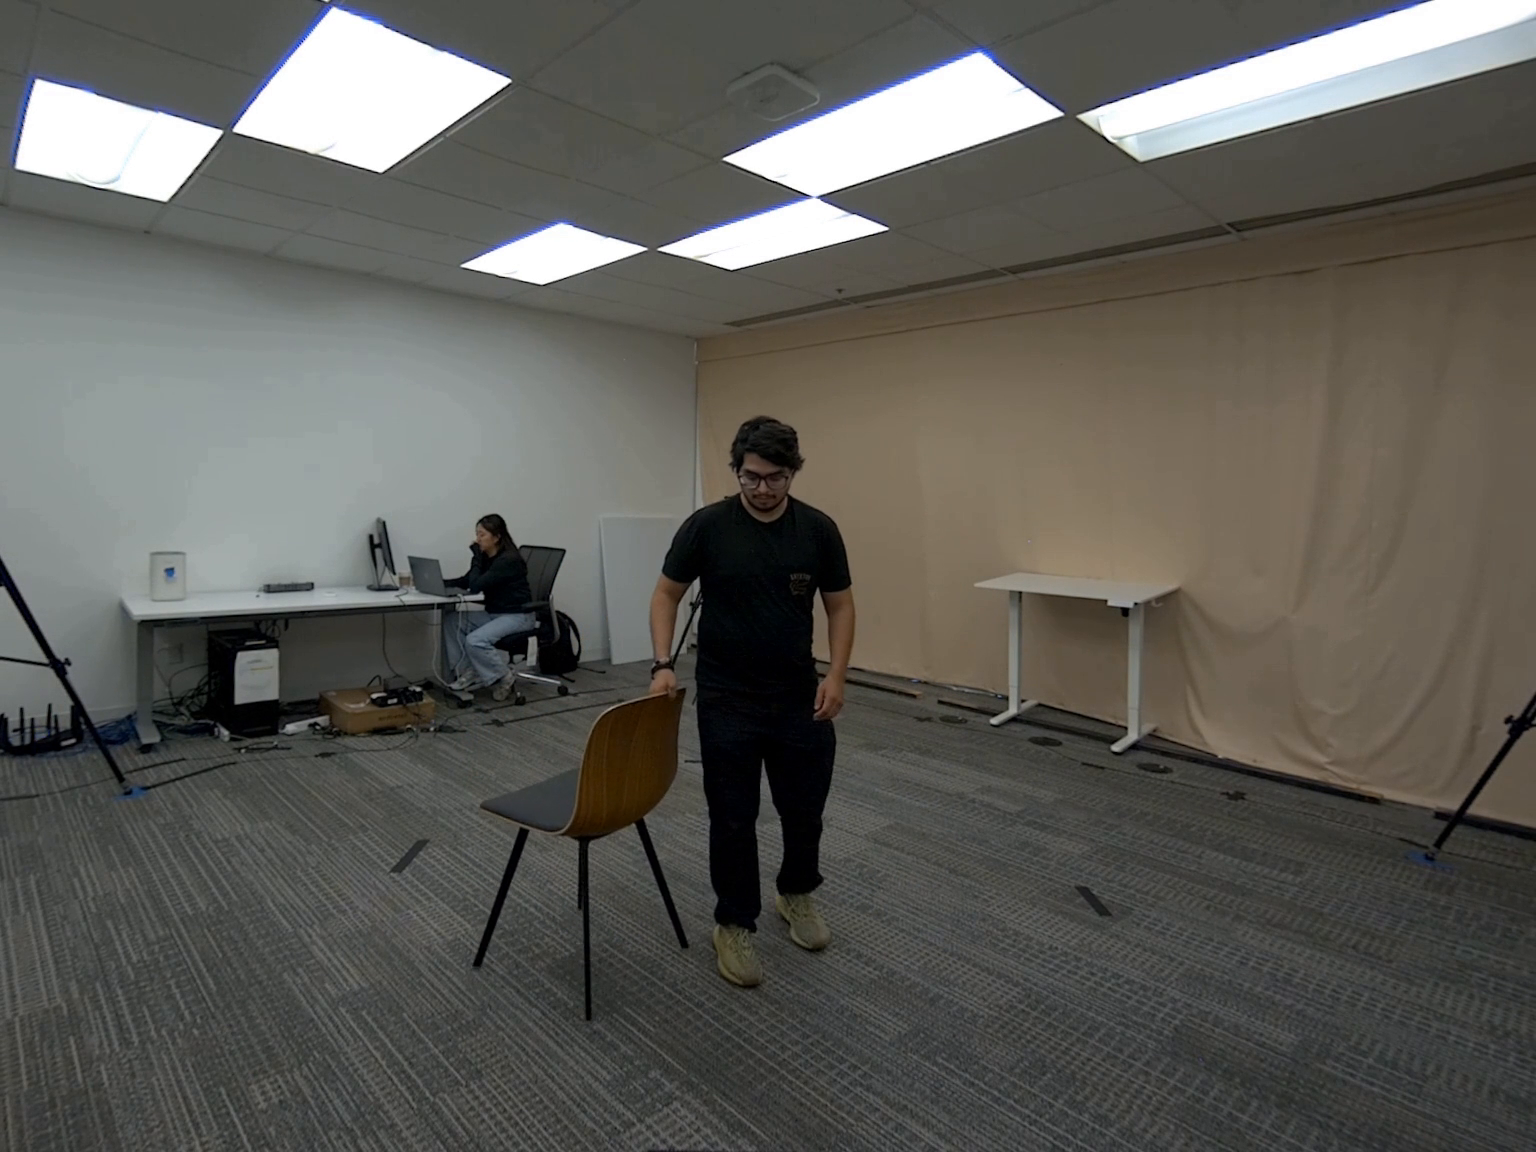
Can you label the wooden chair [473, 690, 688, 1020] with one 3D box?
[{"bbox_3d":[-0.554,0.721,2.502,0.536,0.874,0.468,8,7,32],"label":"wooden chair"}]
